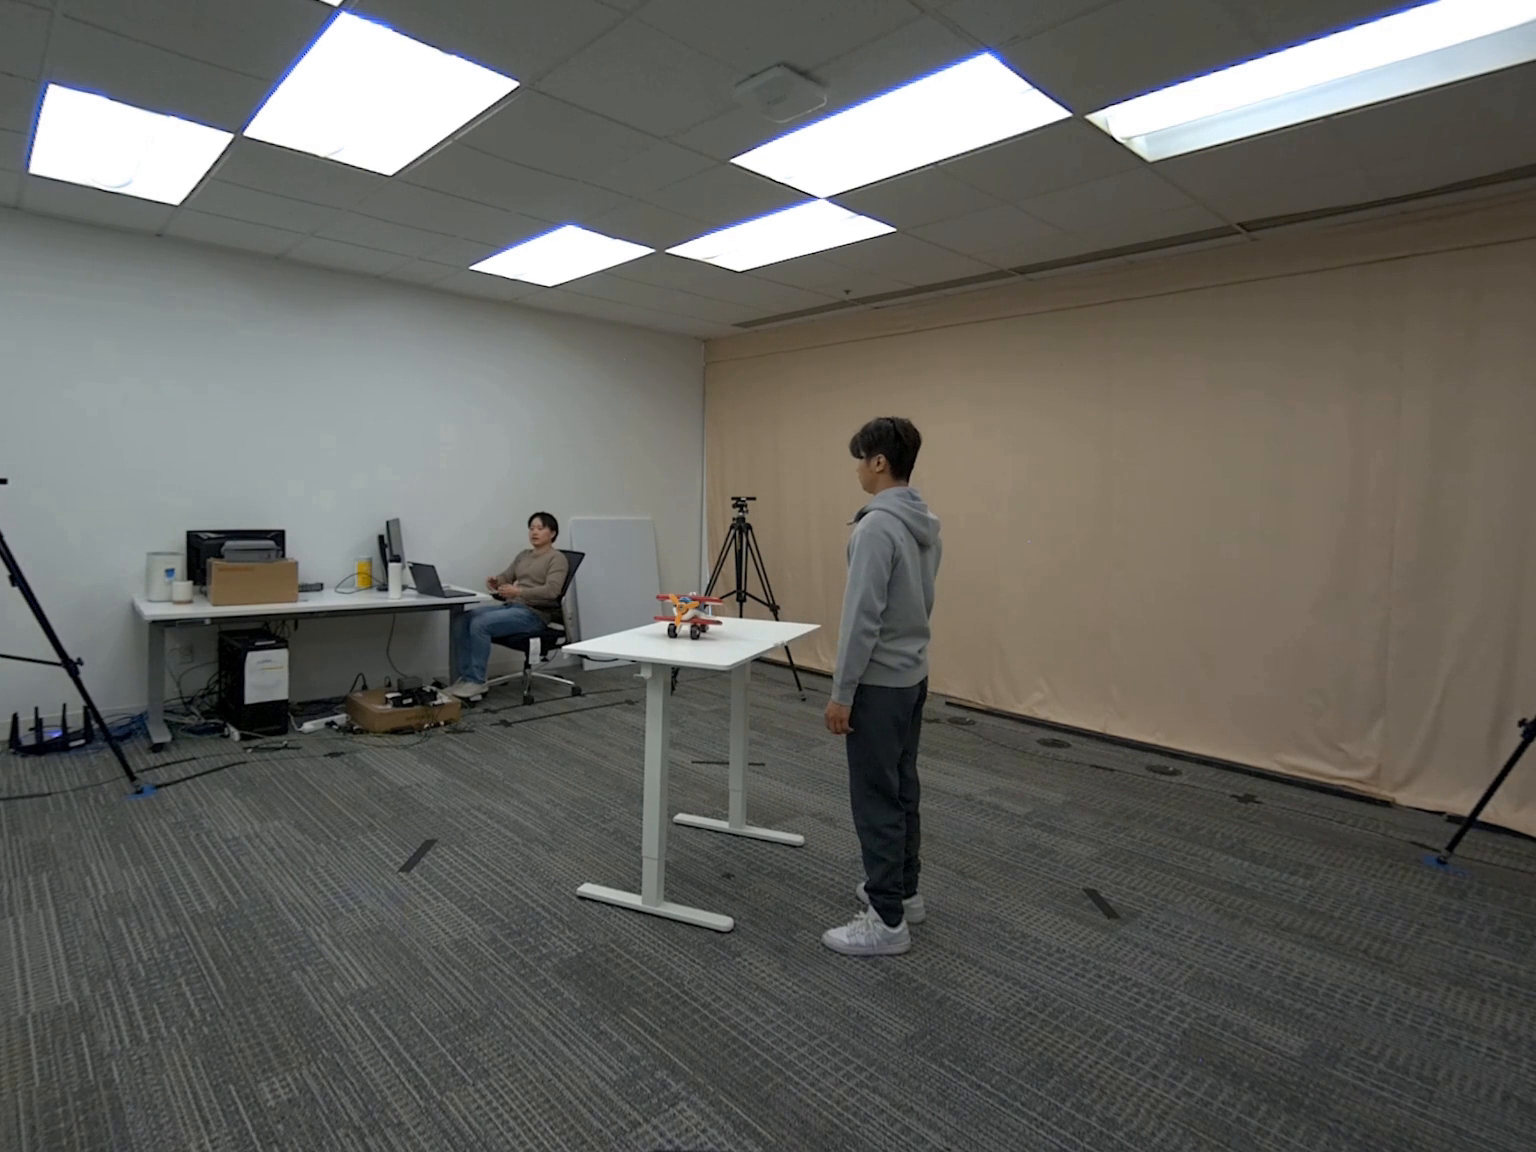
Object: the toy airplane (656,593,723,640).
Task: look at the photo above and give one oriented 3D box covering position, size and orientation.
[{"bbox_3d":[-0.308,0.145,3.116,0.248,0.156,0.262,1,4,-14],"label":"toy airplane"}]
